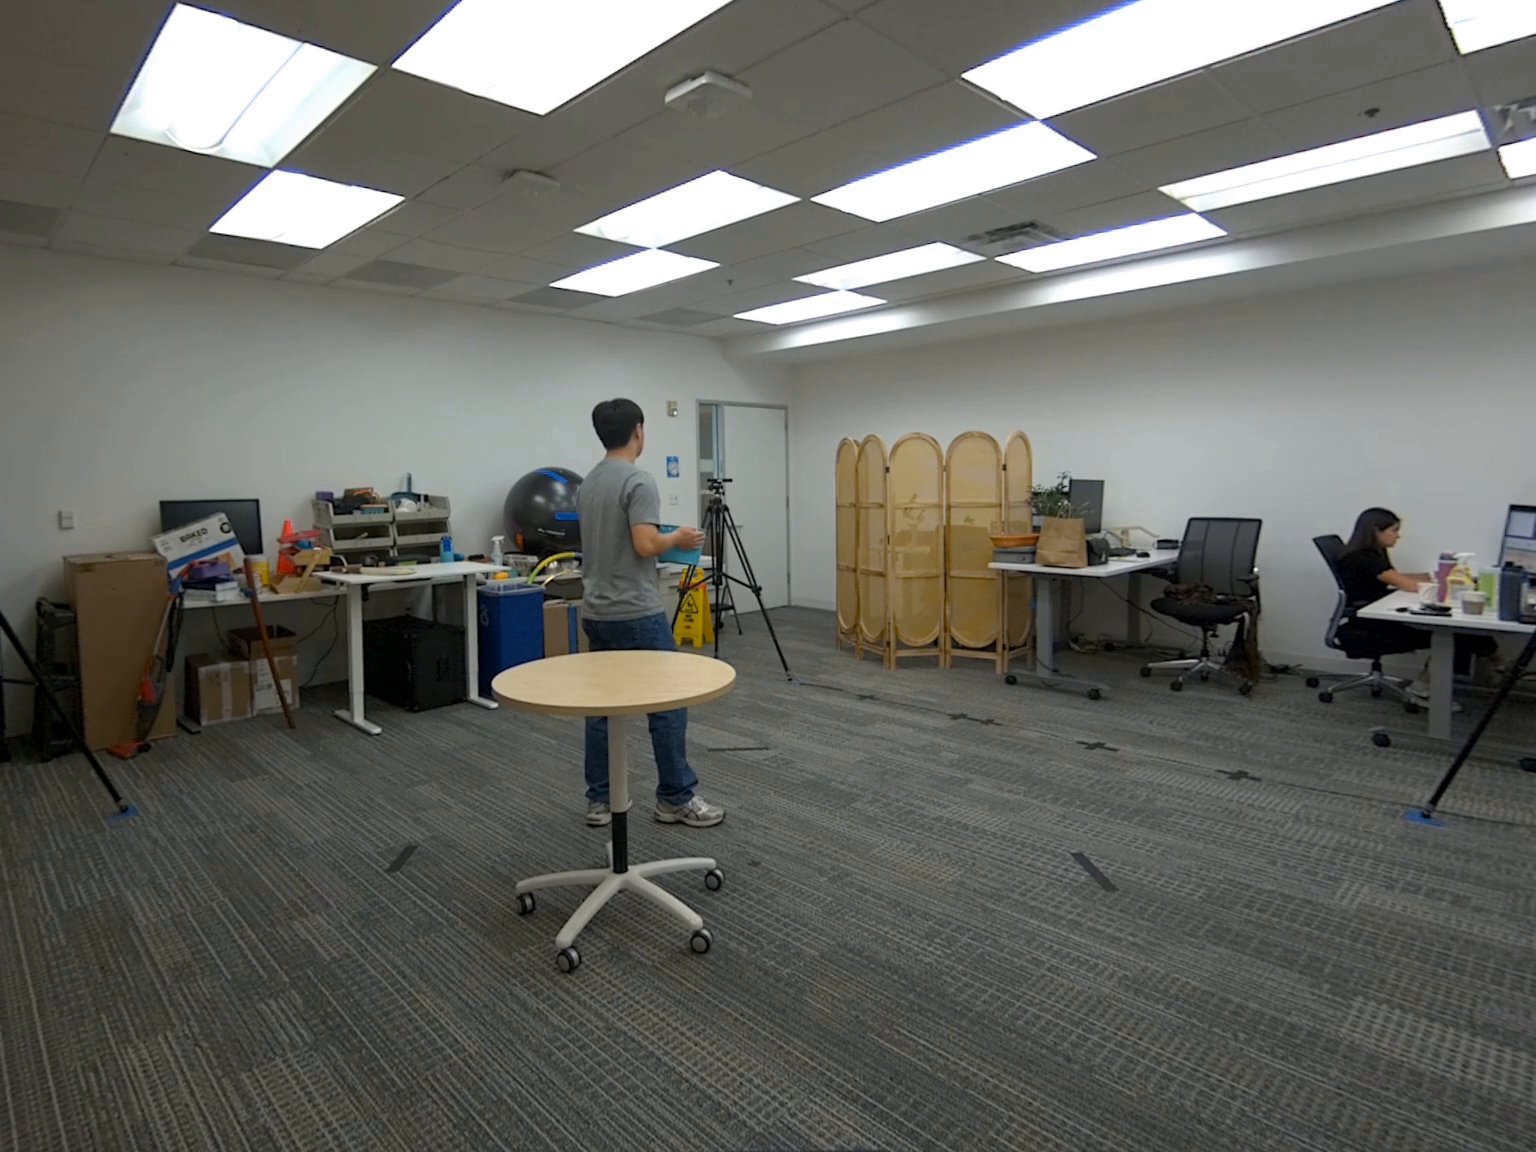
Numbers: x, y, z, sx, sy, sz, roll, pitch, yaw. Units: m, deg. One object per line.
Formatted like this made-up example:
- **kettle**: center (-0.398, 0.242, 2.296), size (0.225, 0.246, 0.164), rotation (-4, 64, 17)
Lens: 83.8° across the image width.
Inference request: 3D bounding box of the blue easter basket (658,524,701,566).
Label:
- **blue easter basket**: center (-0.393, -0.126, 3.700), size (0.243, 0.156, 0.243), rotation (3, -1, -2)
